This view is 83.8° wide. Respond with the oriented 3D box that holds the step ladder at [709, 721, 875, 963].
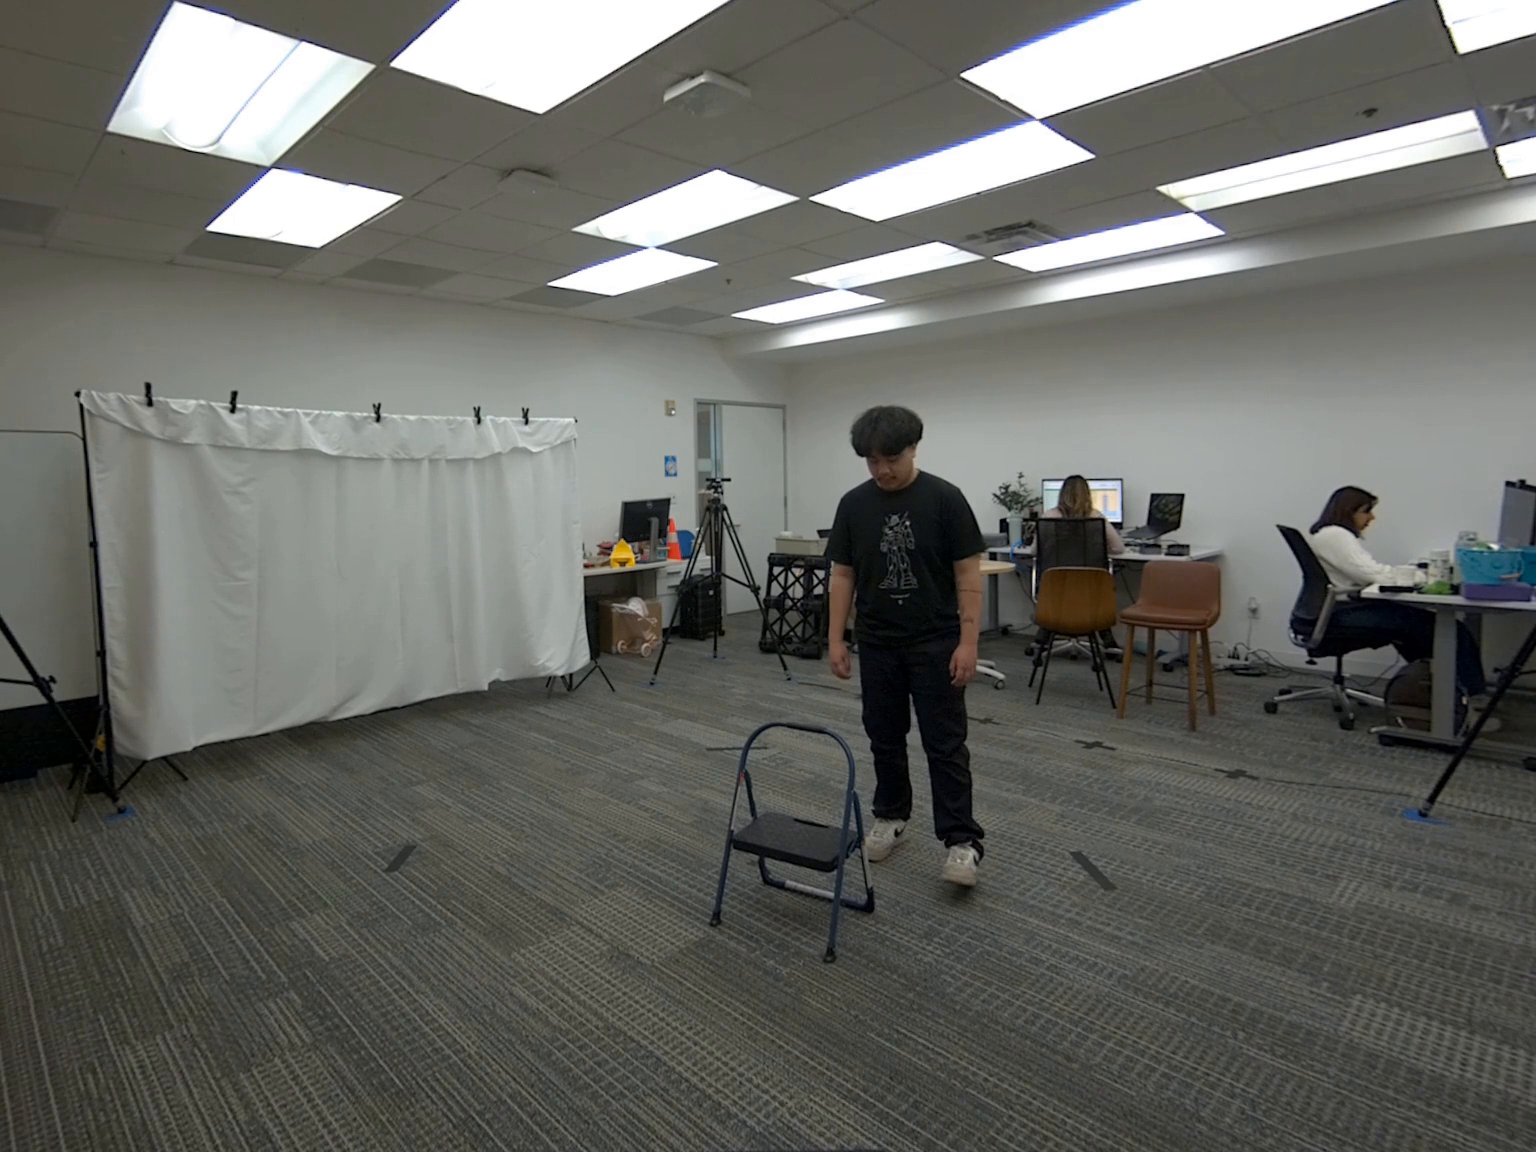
[{"bbox_3d":[0.081,0.784,2.691,0.442,0.603,0.342,2,6,31],"label":"step ladder"}]
